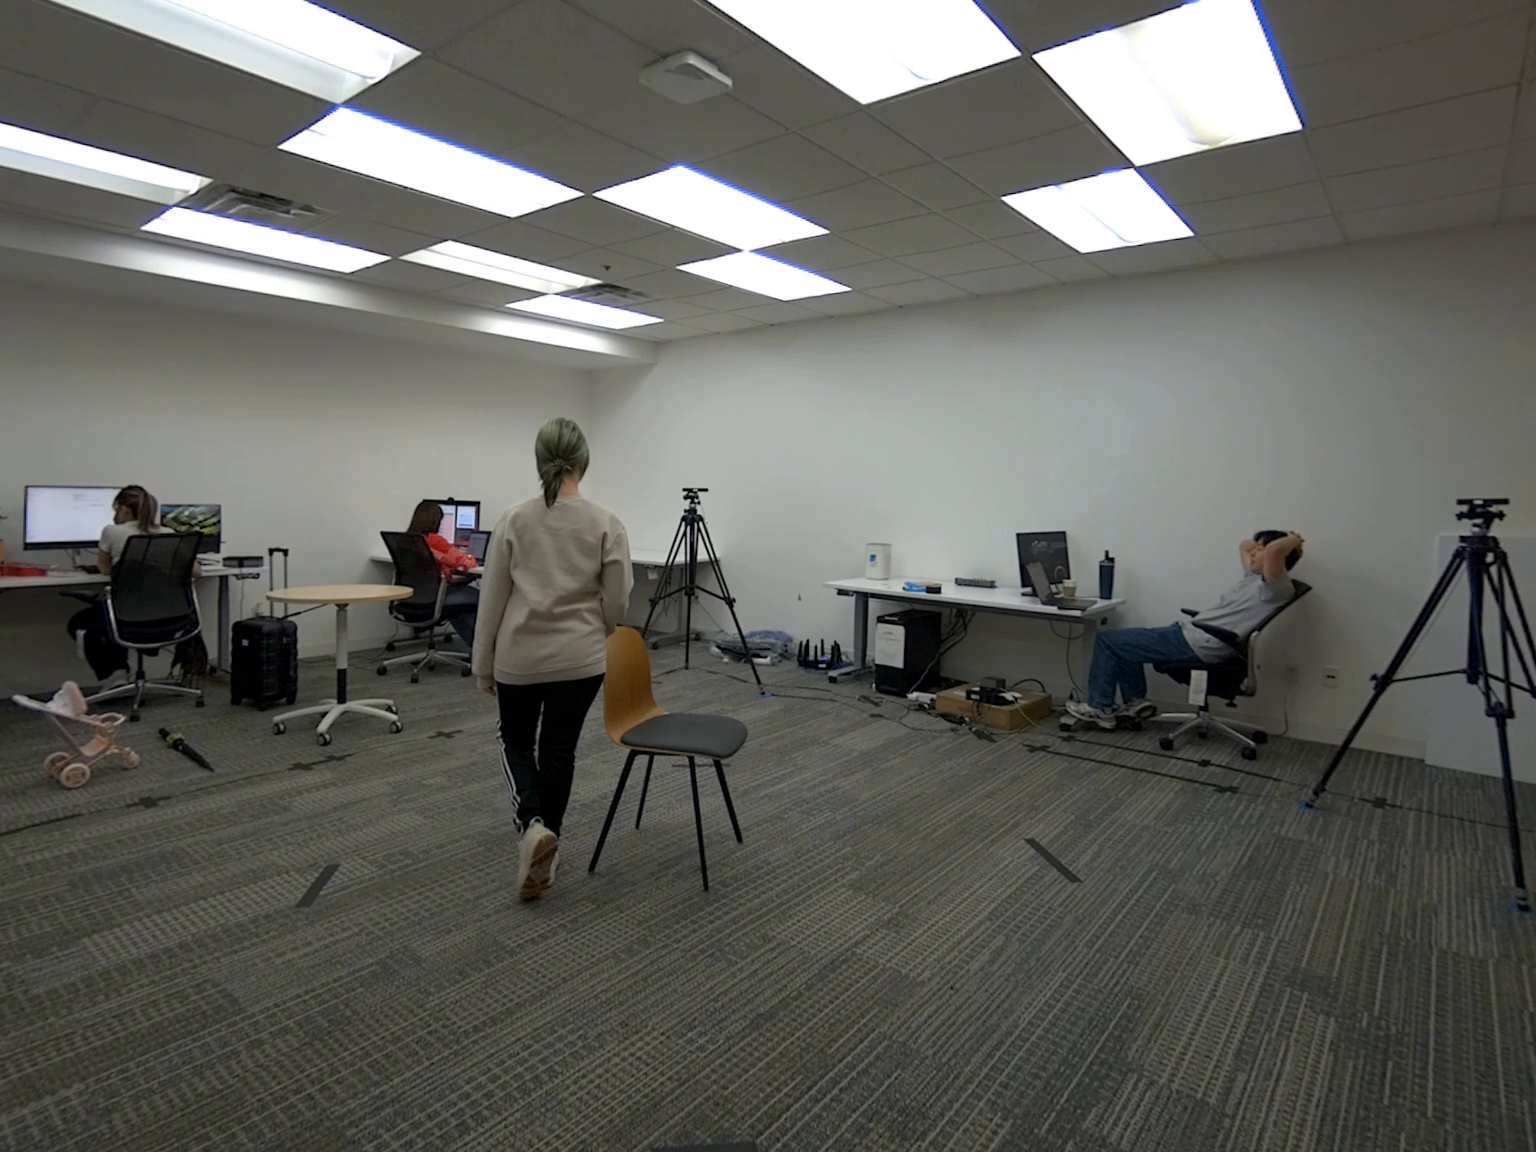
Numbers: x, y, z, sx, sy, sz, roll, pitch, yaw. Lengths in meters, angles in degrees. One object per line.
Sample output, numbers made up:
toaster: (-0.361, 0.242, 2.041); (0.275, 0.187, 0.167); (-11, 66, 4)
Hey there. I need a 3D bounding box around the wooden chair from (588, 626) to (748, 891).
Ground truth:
wooden chair: (-0.363, 0.633, 3.184); (0.532, 0.876, 0.471); (-2, 2, 17)
